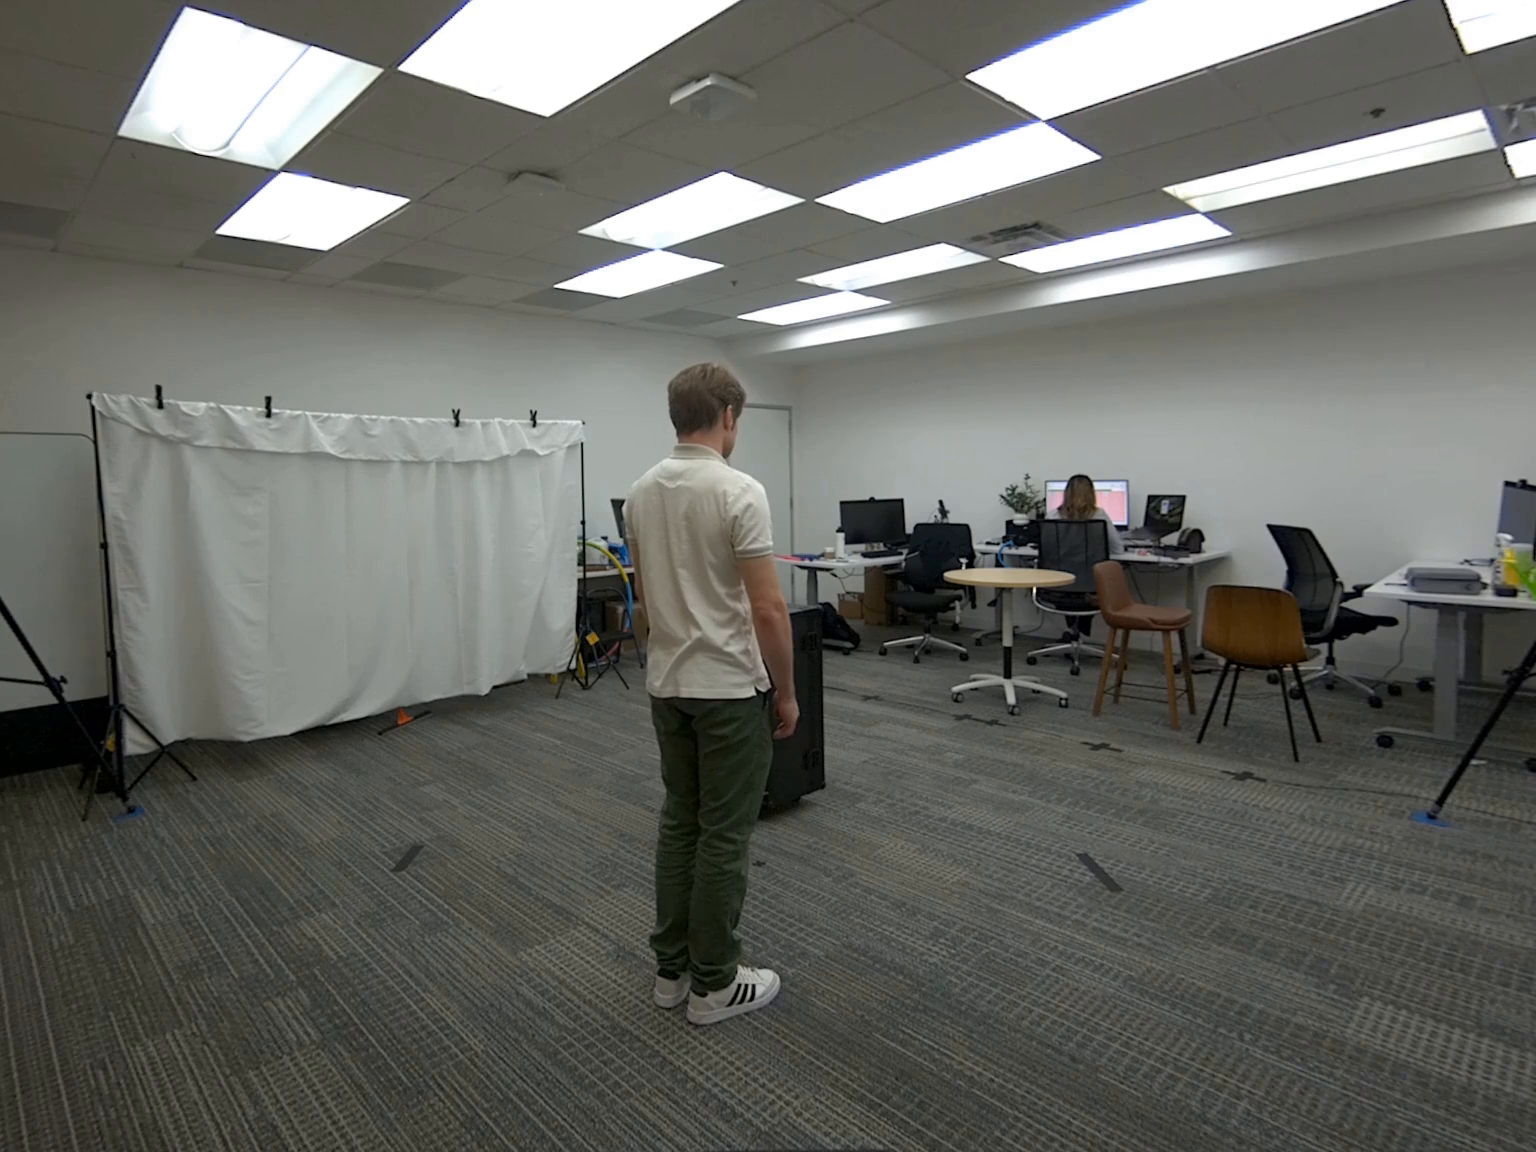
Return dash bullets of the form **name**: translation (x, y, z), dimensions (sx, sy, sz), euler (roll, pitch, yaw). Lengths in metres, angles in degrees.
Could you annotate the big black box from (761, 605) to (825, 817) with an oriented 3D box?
- **big black box**: translation (-0.051, 0.561, 3.697), dimensions (0.539, 0.865, 0.375), euler (3, 6, 45)
